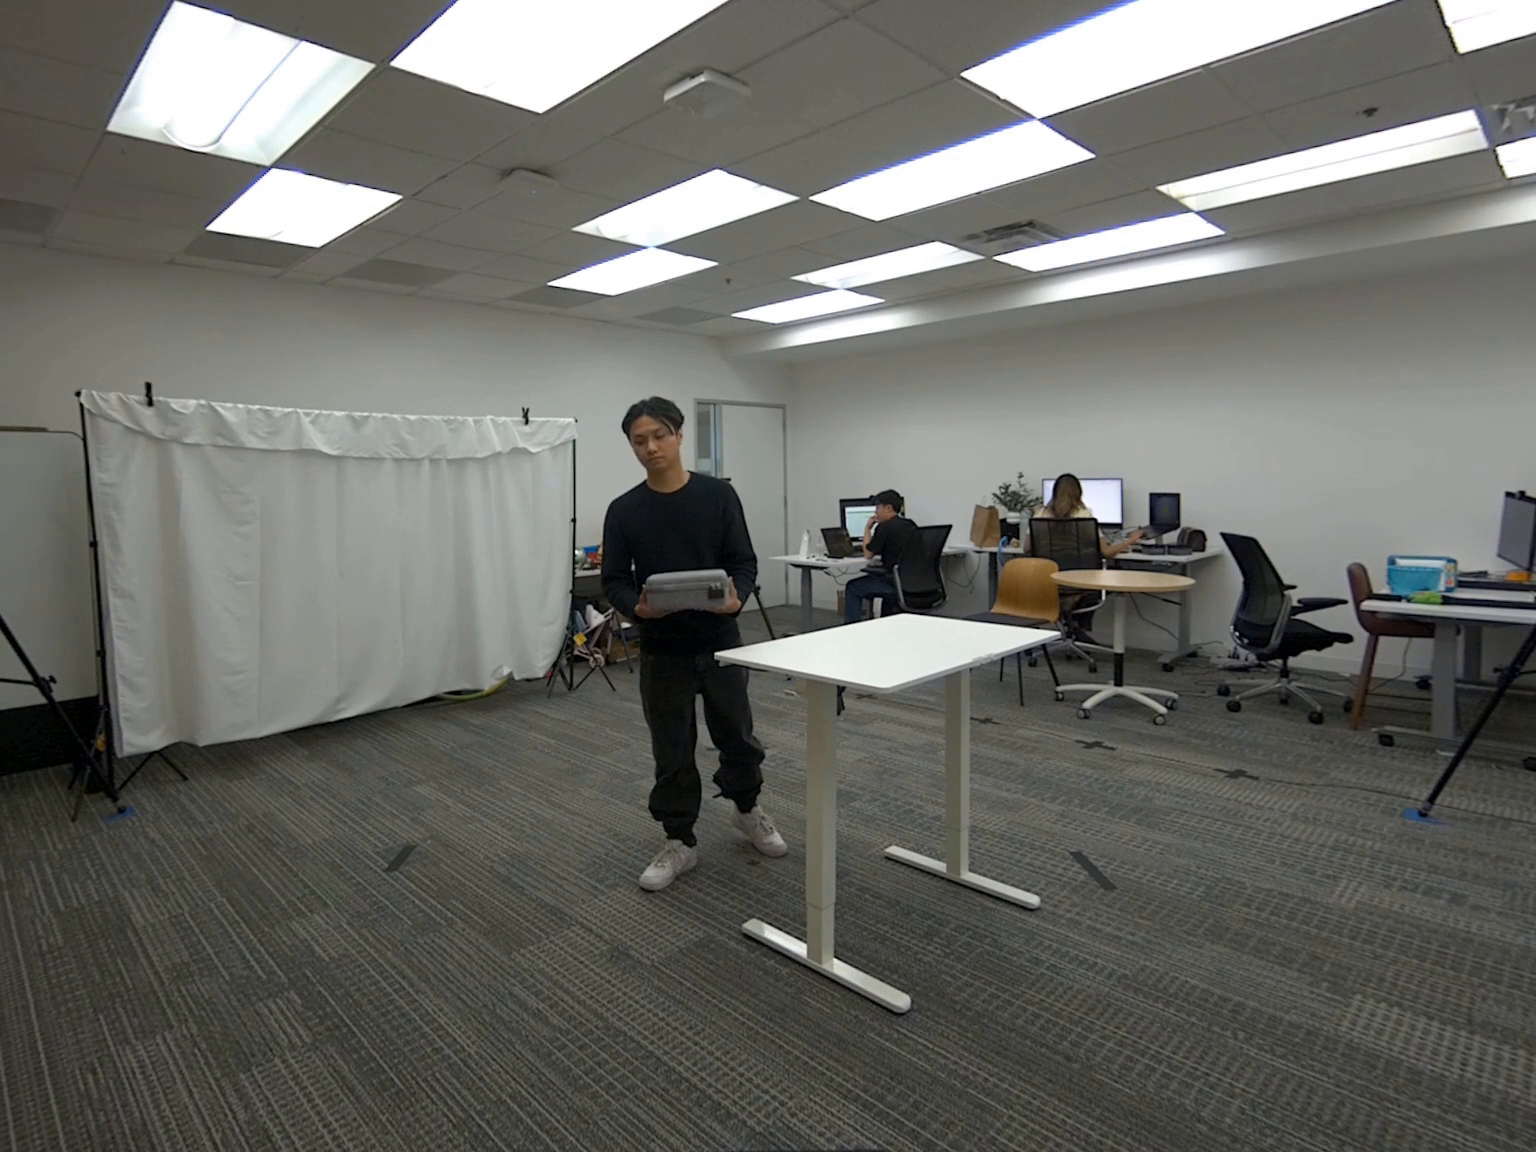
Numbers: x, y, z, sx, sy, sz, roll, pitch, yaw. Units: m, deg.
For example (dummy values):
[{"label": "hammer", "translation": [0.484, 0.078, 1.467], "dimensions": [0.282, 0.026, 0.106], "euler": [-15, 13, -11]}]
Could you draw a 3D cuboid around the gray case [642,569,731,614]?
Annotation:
[{"label": "gray case", "translation": [-0.233, 0.053, 2.693], "dimensions": [0.262, 0.105, 0.254], "euler": [-2, -3, 6]}]
